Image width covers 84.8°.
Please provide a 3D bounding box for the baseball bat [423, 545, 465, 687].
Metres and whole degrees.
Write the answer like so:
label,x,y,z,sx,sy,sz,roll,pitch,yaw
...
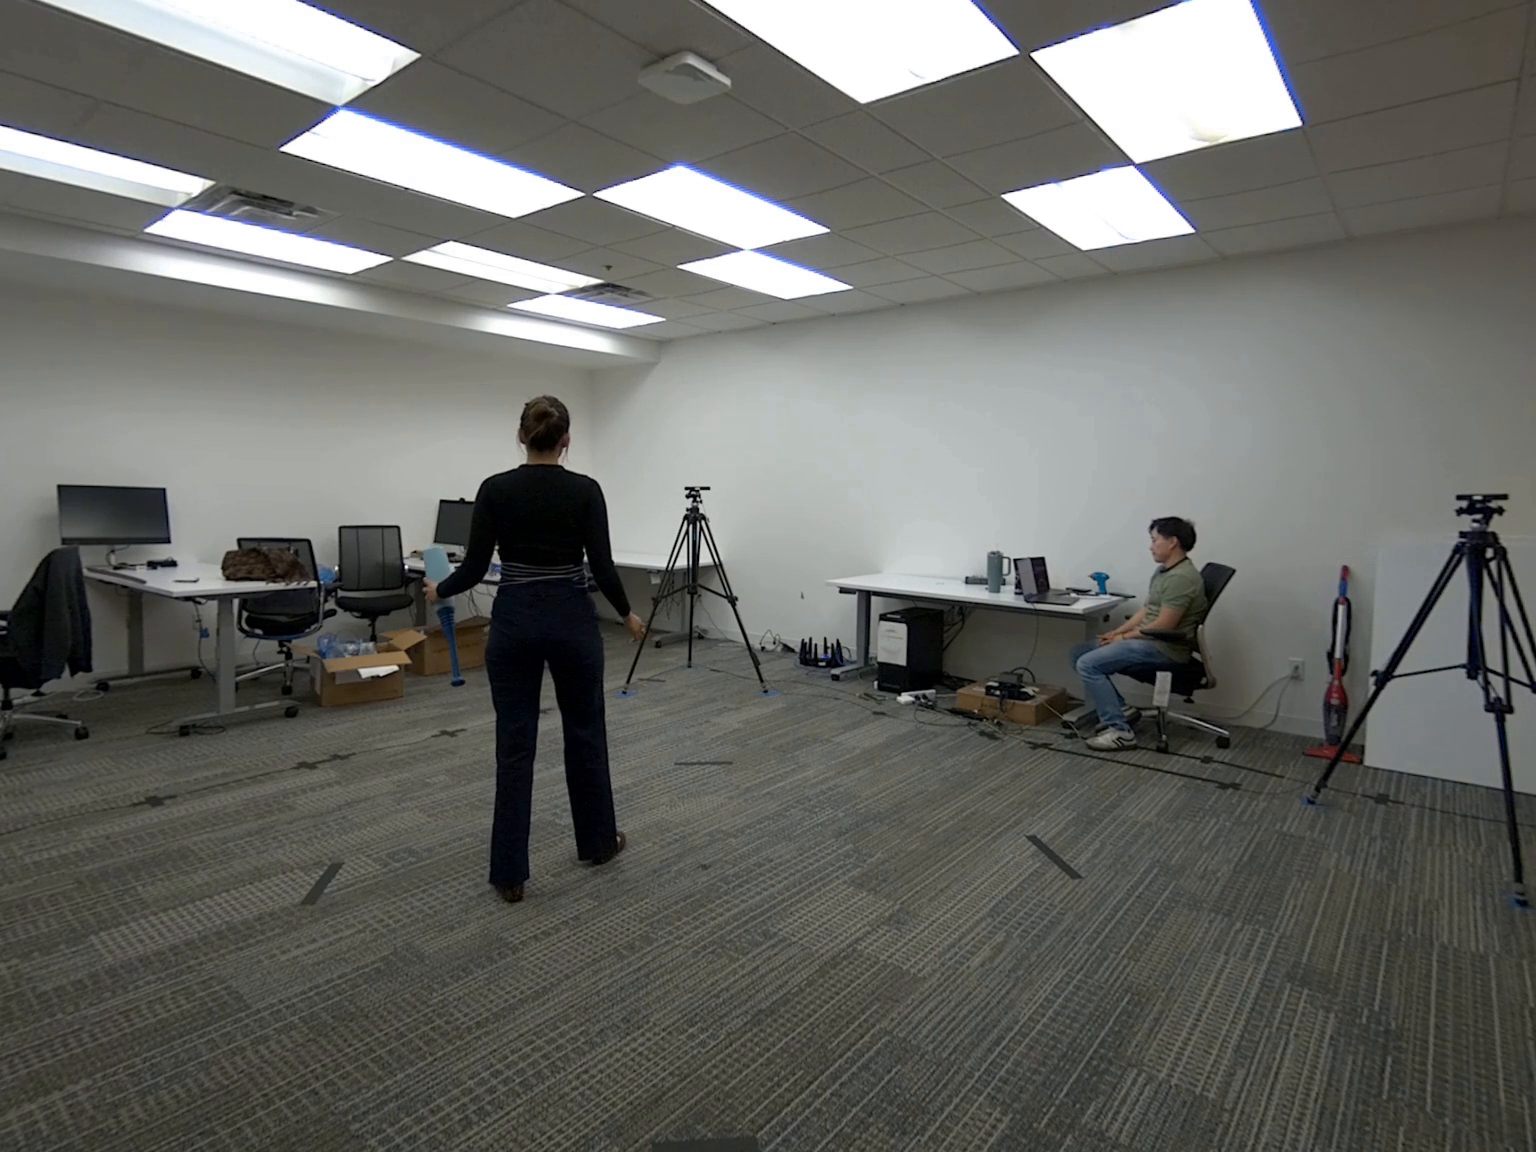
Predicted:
label,x,y,z,sx,sy,sz,roll,pitch,yaw
baseball bat,-1.198,0.130,3.150,0.088,0.556,0.087,-16,-19,-7
